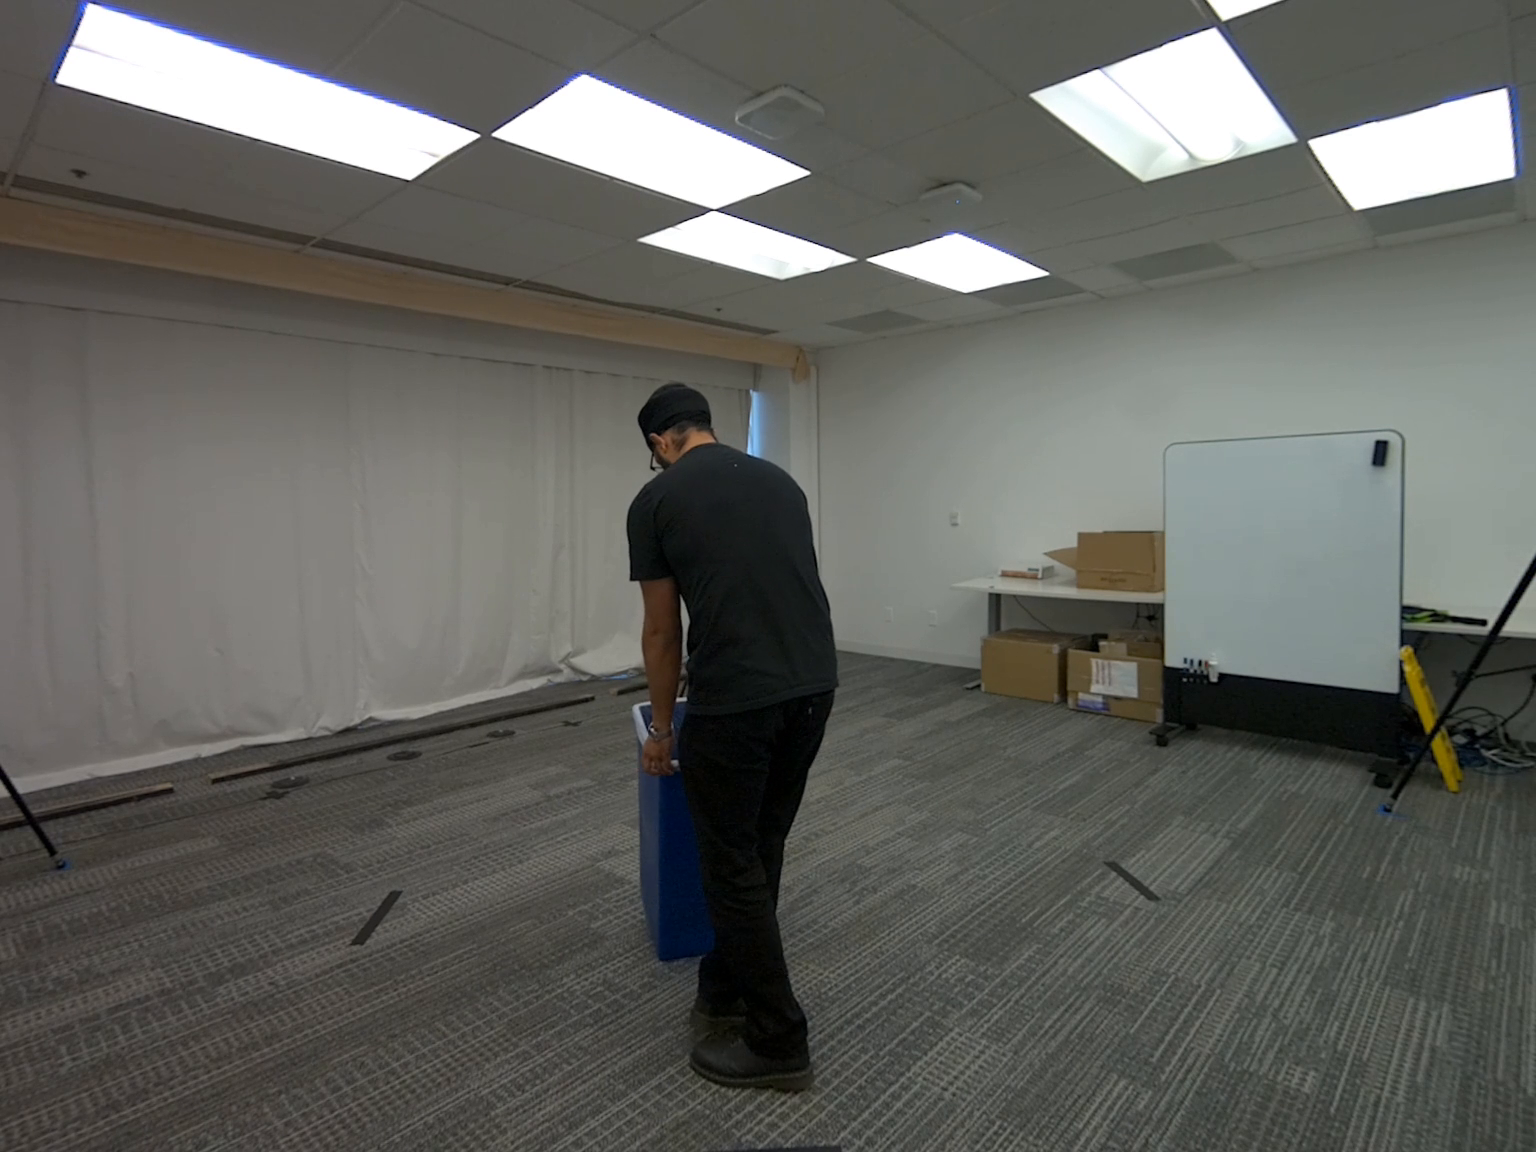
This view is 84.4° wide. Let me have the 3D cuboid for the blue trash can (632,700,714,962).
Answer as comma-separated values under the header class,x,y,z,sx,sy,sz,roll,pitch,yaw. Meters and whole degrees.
class,x,y,z,sx,sy,sz,roll,pitch,yaw
blue trash can,-0.209,0.790,2.619,0.371,0.706,0.384,-3,19,-18
